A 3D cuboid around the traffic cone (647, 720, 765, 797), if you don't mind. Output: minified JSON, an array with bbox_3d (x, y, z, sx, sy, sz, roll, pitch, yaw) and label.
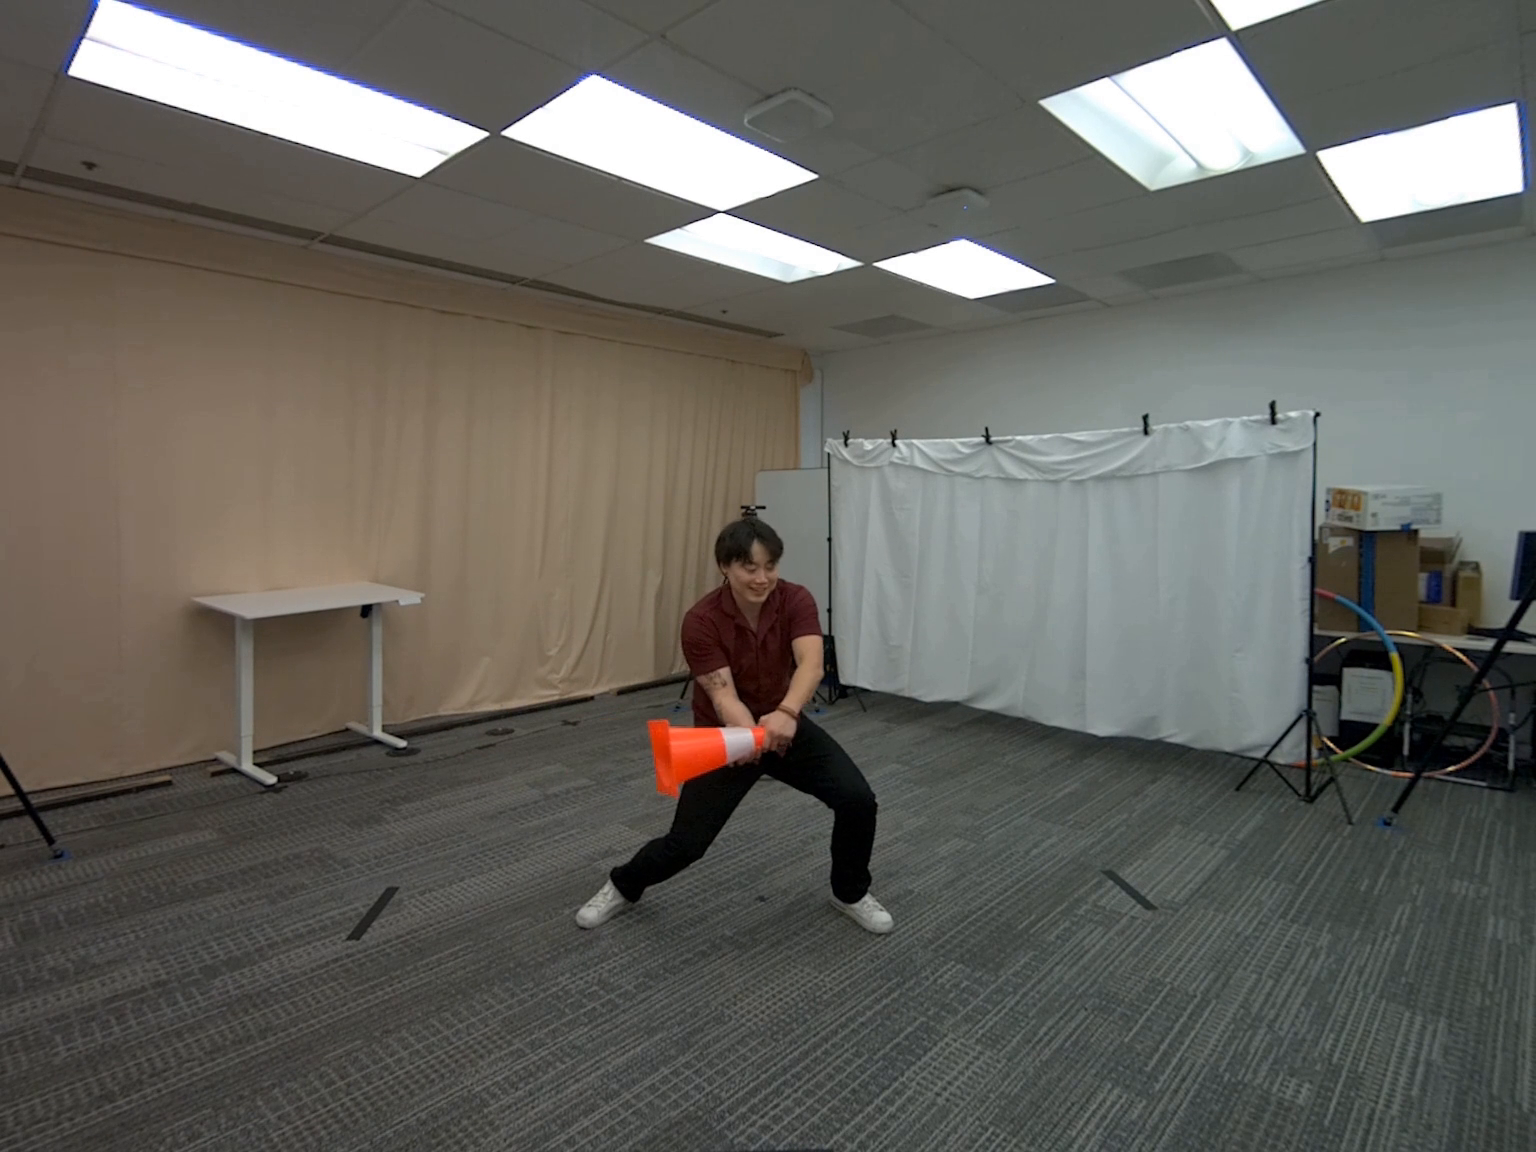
[{"bbox_3d":[-0.106,0.467,2.339,0.376,0.206,0.206,-5,-8,-22],"label":"traffic cone"}]
